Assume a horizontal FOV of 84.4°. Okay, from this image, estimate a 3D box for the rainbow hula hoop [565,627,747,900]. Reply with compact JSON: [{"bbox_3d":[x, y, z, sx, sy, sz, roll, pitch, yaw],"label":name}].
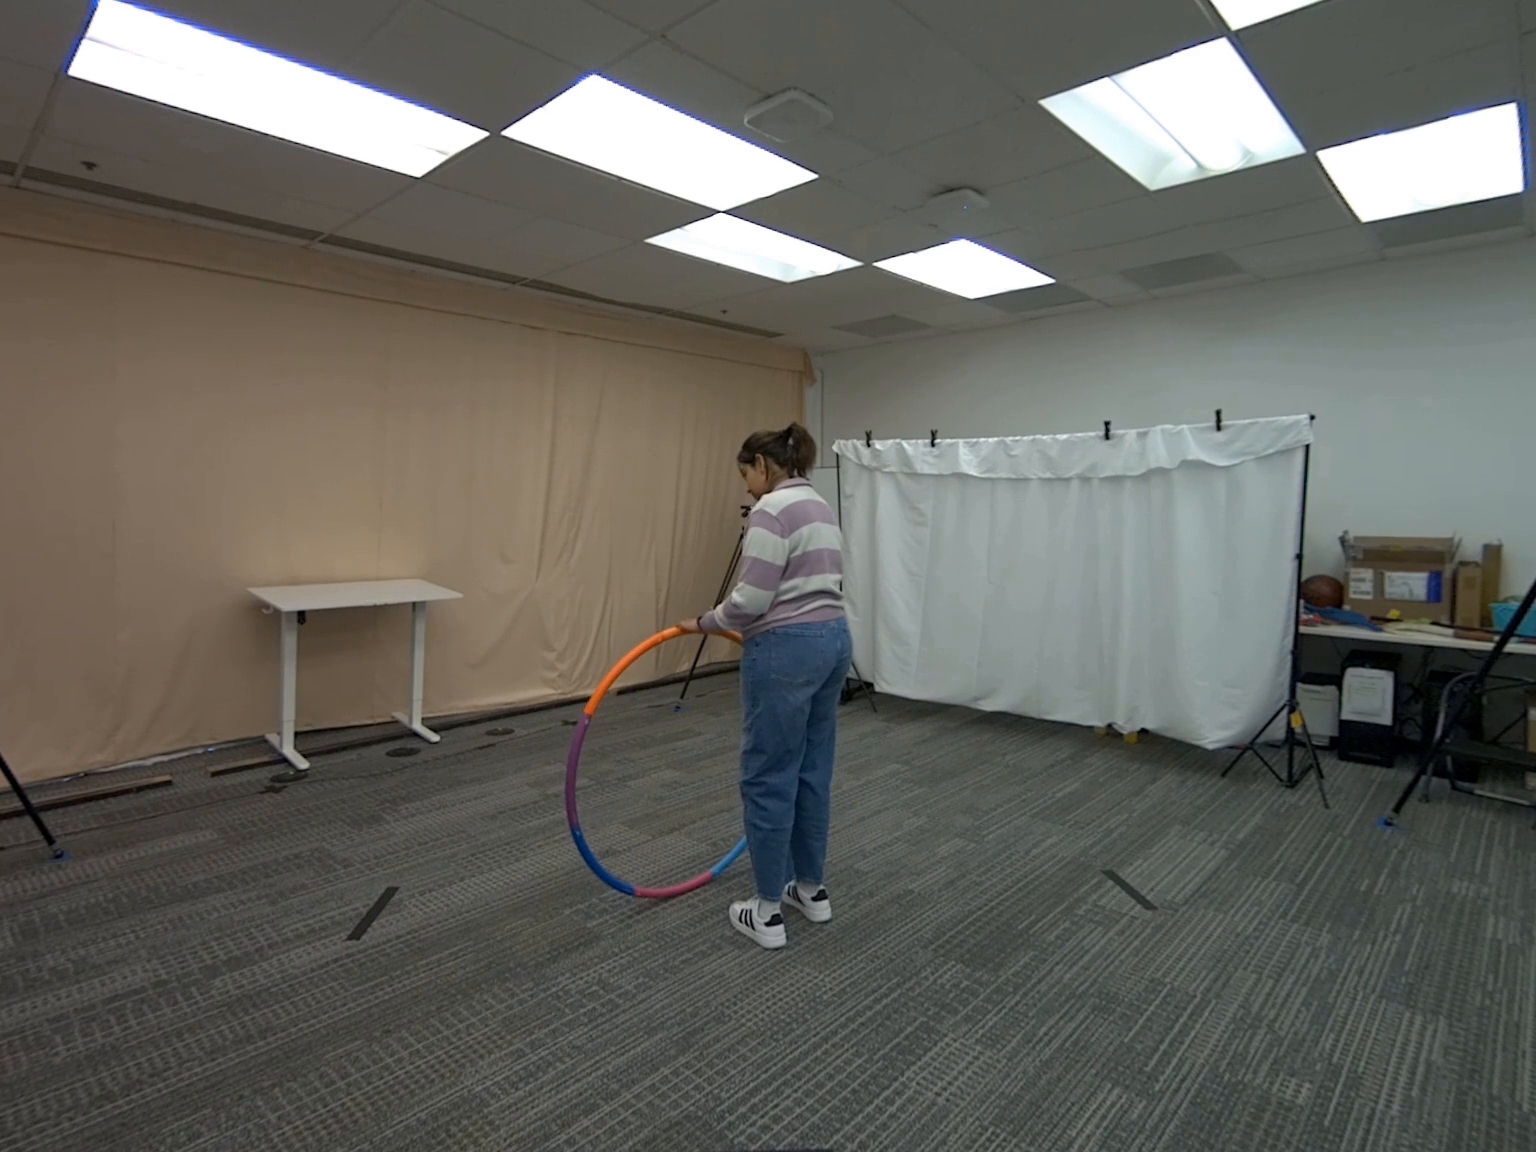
[{"bbox_3d":[-0.284,0.658,3.004,0.955,0.982,0.053,-3,7,-41],"label":"rainbow hula hoop"}]
